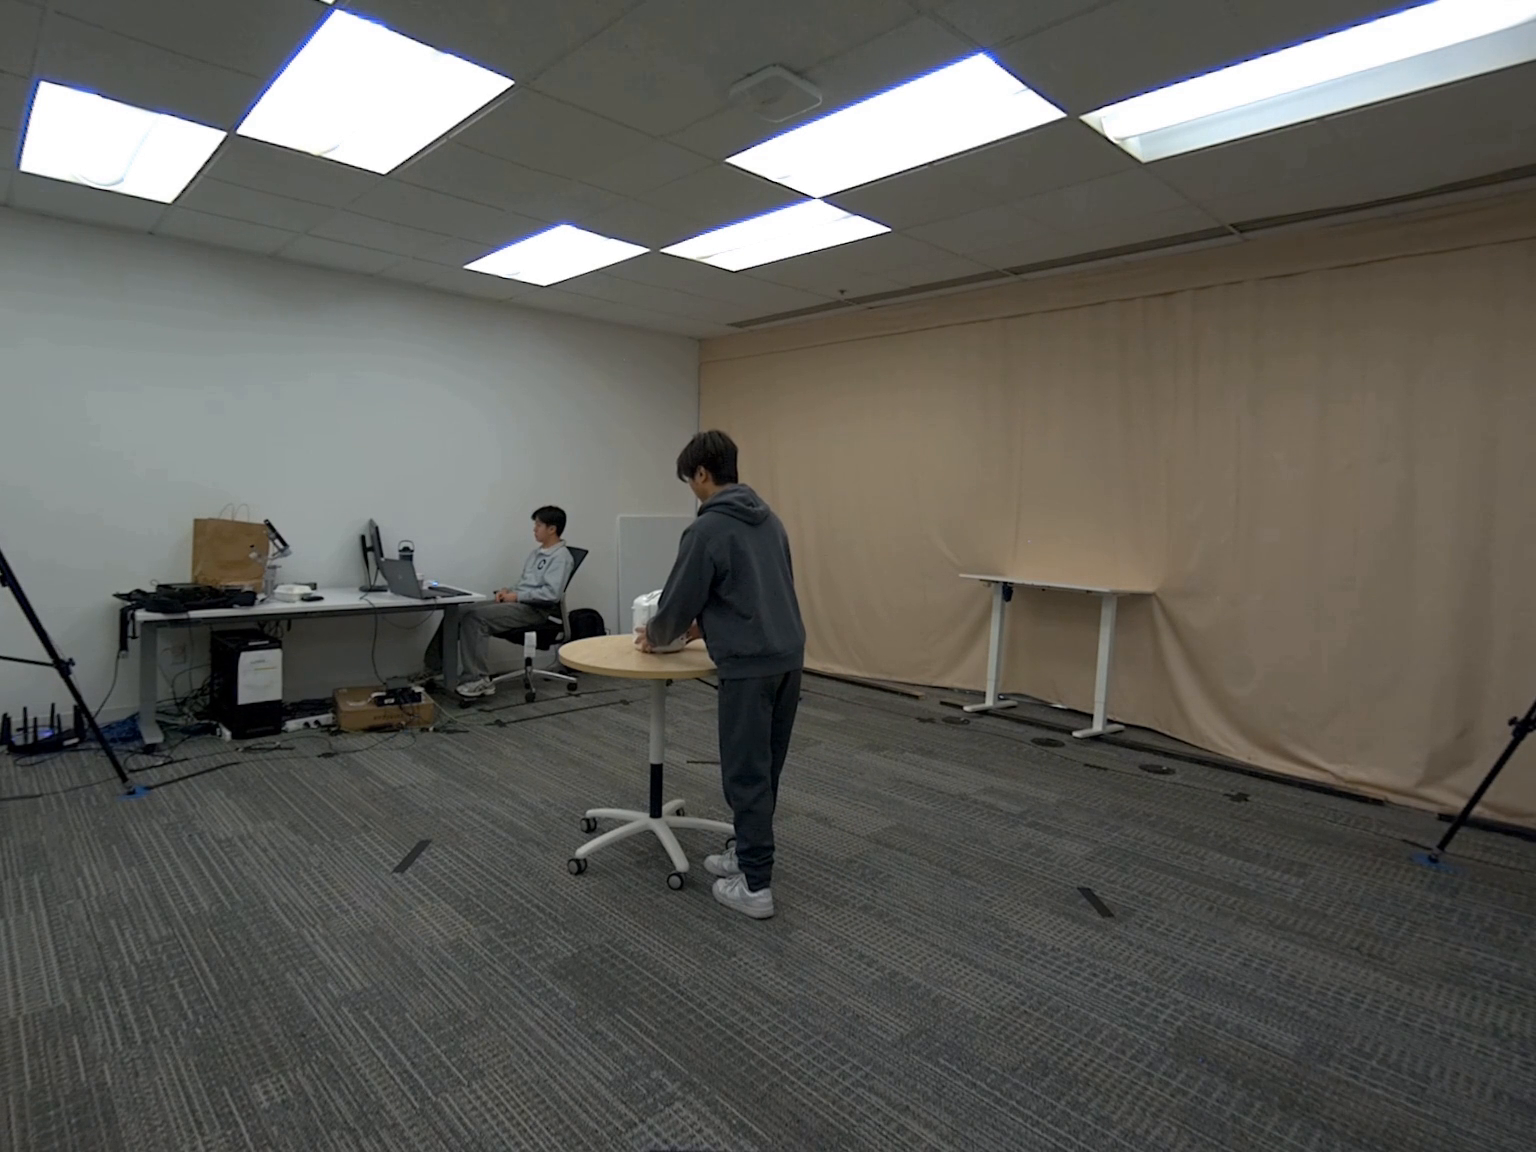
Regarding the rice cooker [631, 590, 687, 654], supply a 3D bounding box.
[{"bbox_3d":[-0.418,0.171,3.274,0.222,0.232,0.216,3,4,28],"label":"rice cooker"}]
